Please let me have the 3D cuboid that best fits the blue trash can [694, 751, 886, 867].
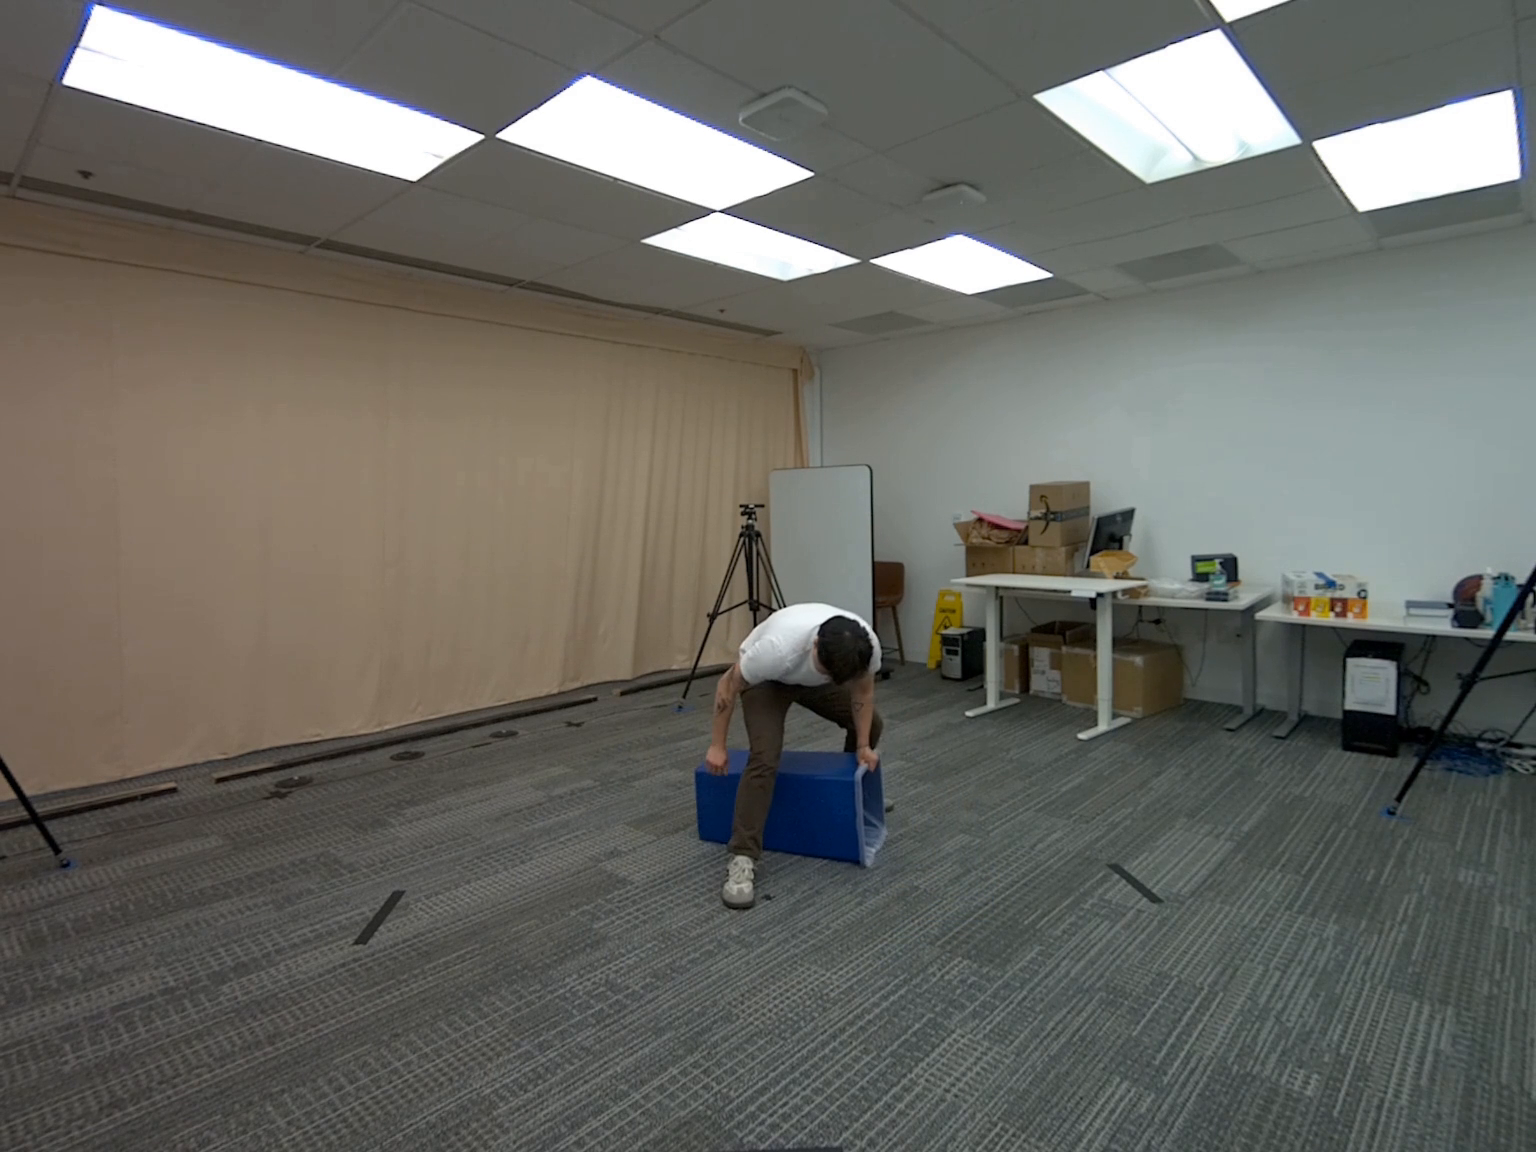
[{"bbox_3d":[0.092,0.919,3.499,0.730,0.377,0.366,-1,6,23],"label":"blue trash can"}]
